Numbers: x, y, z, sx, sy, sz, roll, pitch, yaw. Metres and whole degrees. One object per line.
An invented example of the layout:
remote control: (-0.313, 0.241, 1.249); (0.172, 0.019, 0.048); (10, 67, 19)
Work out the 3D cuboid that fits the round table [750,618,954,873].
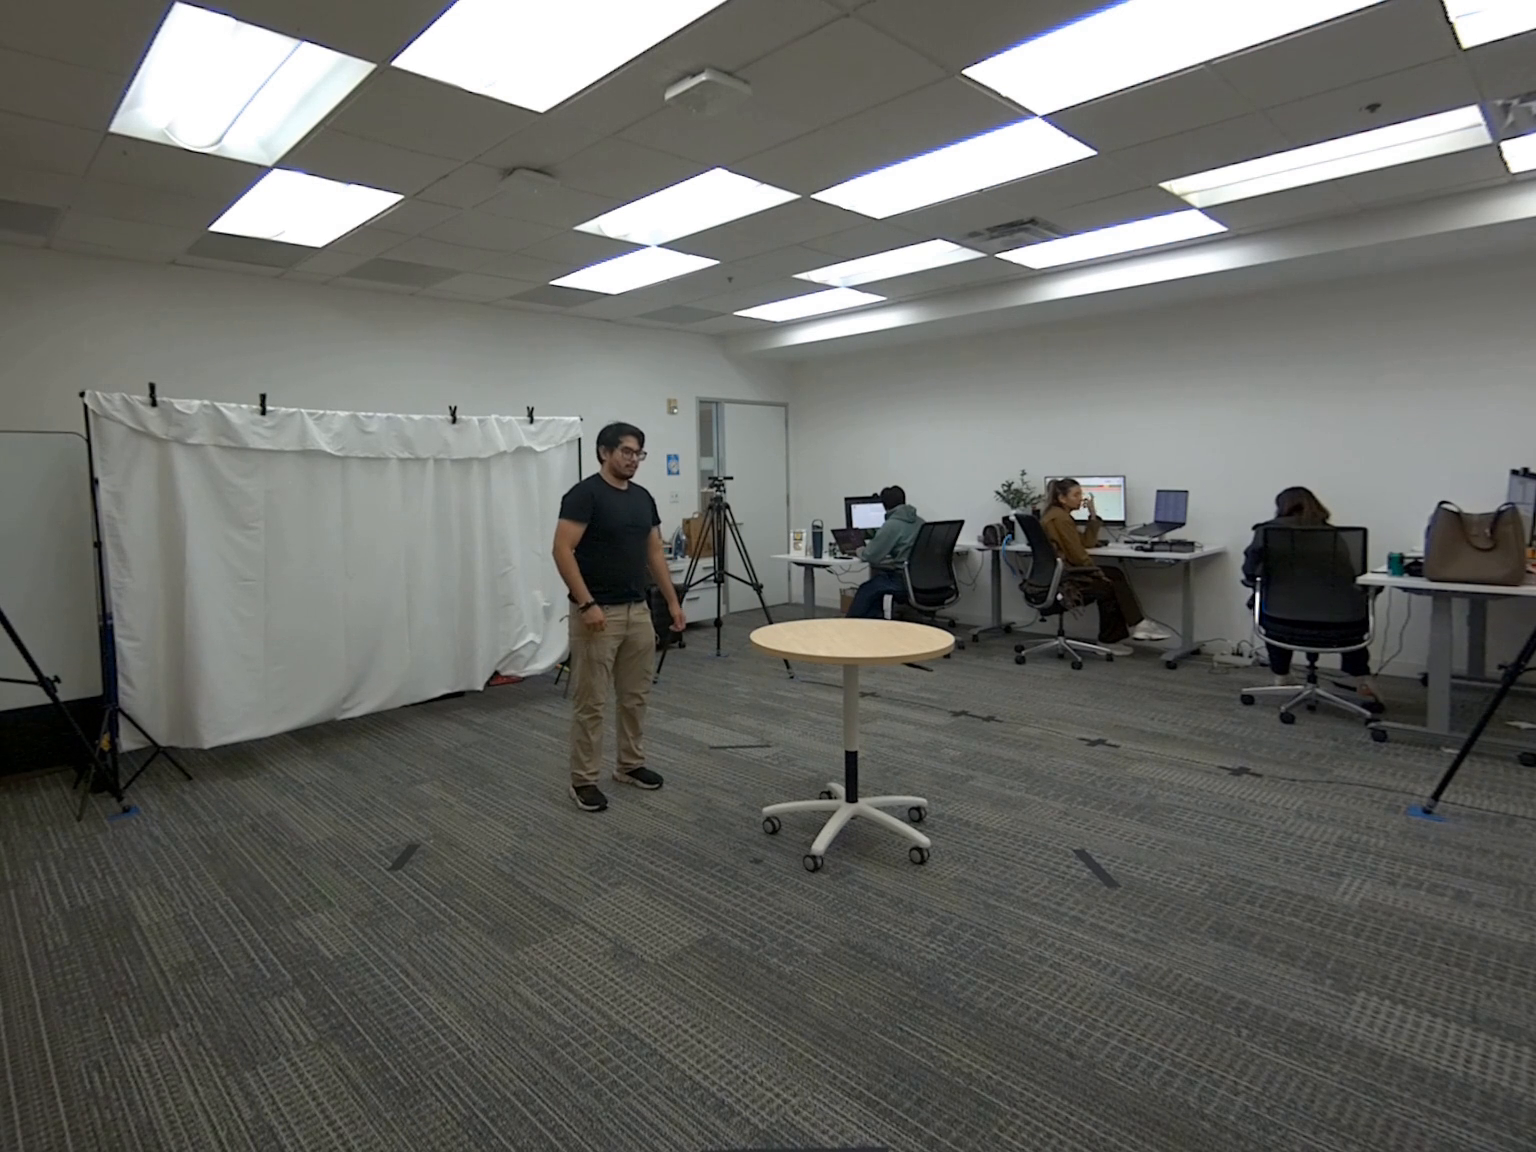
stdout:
round table: (0.305, 0.614, 3.280); (0.784, 0.783, 0.789); (-1, 5, -2)
